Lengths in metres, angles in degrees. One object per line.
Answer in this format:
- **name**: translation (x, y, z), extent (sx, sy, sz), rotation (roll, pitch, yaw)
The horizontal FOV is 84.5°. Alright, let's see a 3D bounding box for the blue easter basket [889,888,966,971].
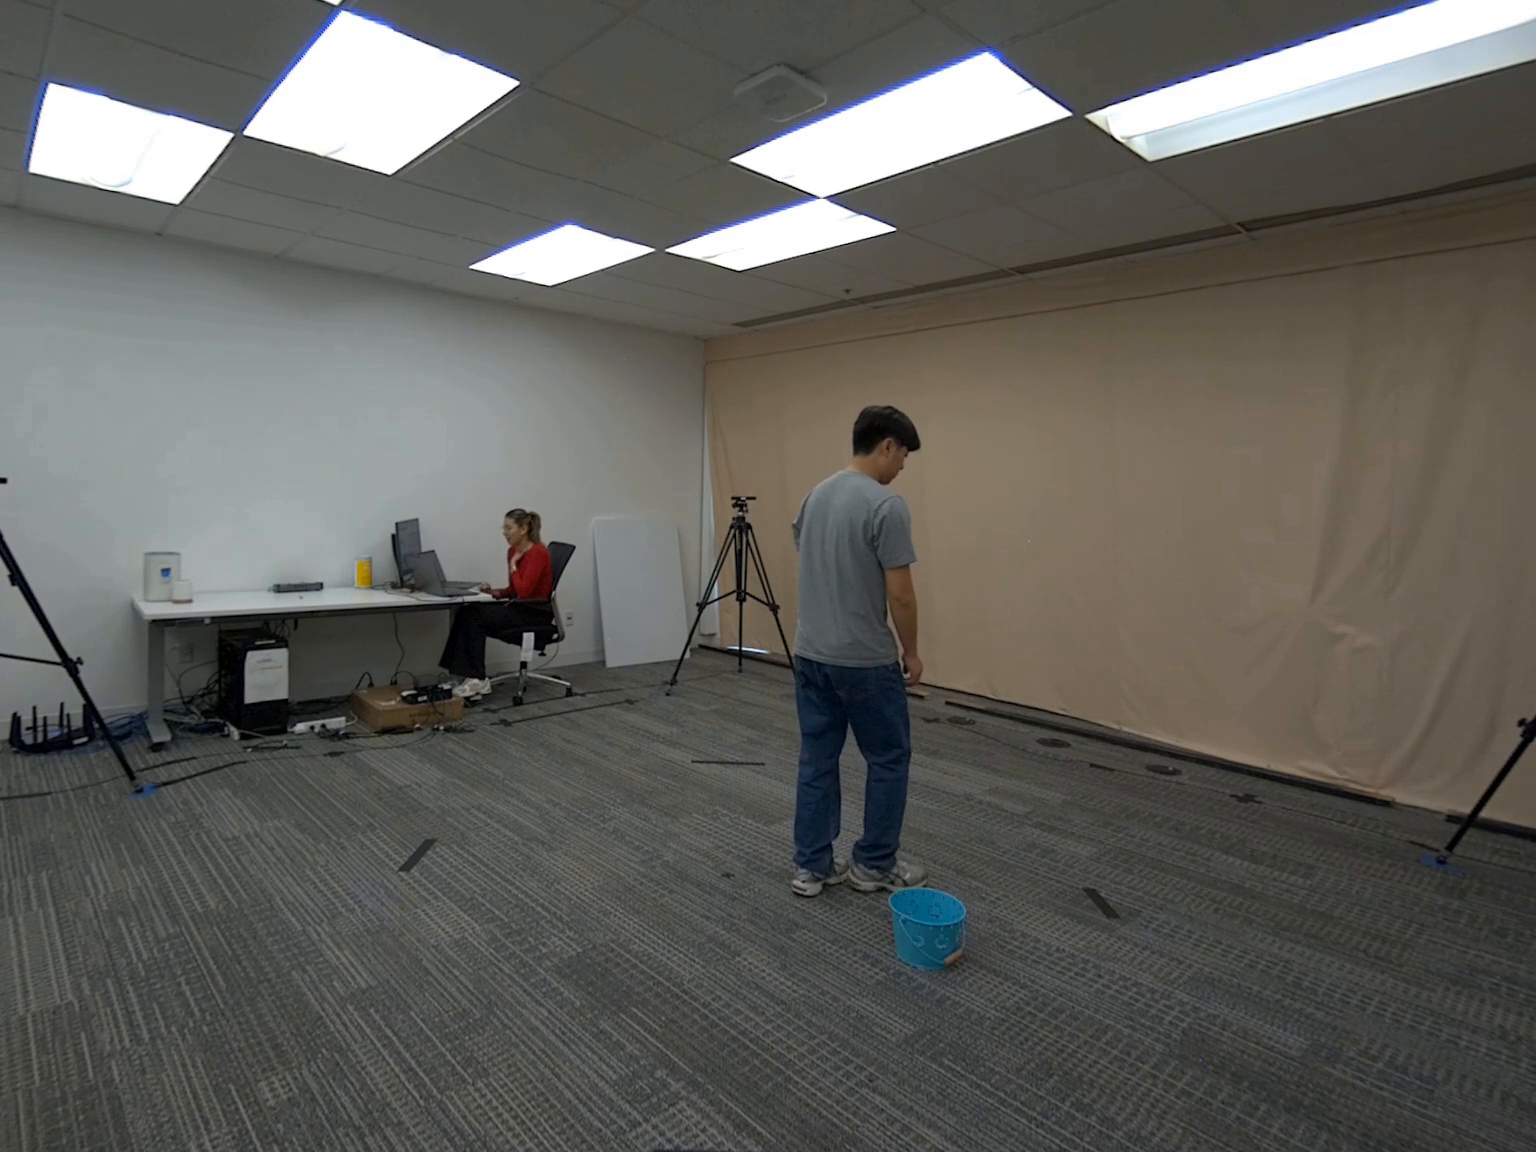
- **blue easter basket**: translation (0.480, 1.090, 2.593), extent (0.243, 0.155, 0.244), rotation (0, 5, -1)
